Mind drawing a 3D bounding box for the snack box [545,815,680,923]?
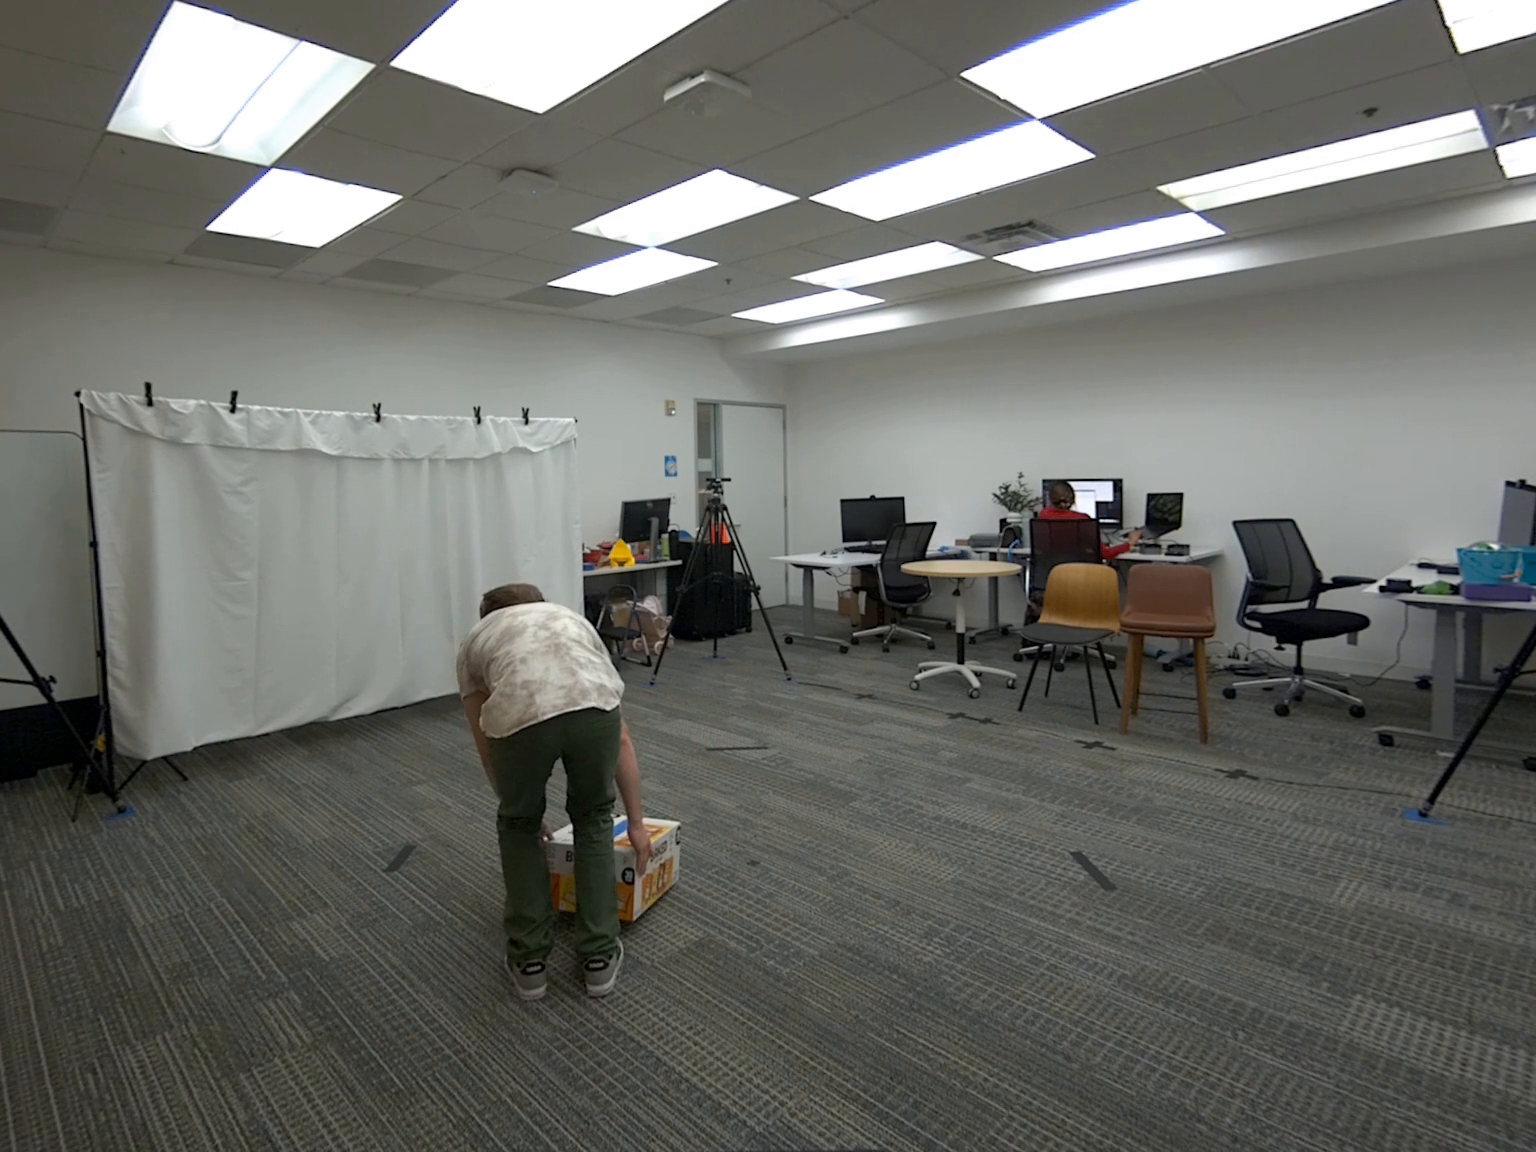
[{"bbox_3d":[-0.516,0.951,2.841,0.346,0.206,0.398,2,-2,15],"label":"snack box"}]
